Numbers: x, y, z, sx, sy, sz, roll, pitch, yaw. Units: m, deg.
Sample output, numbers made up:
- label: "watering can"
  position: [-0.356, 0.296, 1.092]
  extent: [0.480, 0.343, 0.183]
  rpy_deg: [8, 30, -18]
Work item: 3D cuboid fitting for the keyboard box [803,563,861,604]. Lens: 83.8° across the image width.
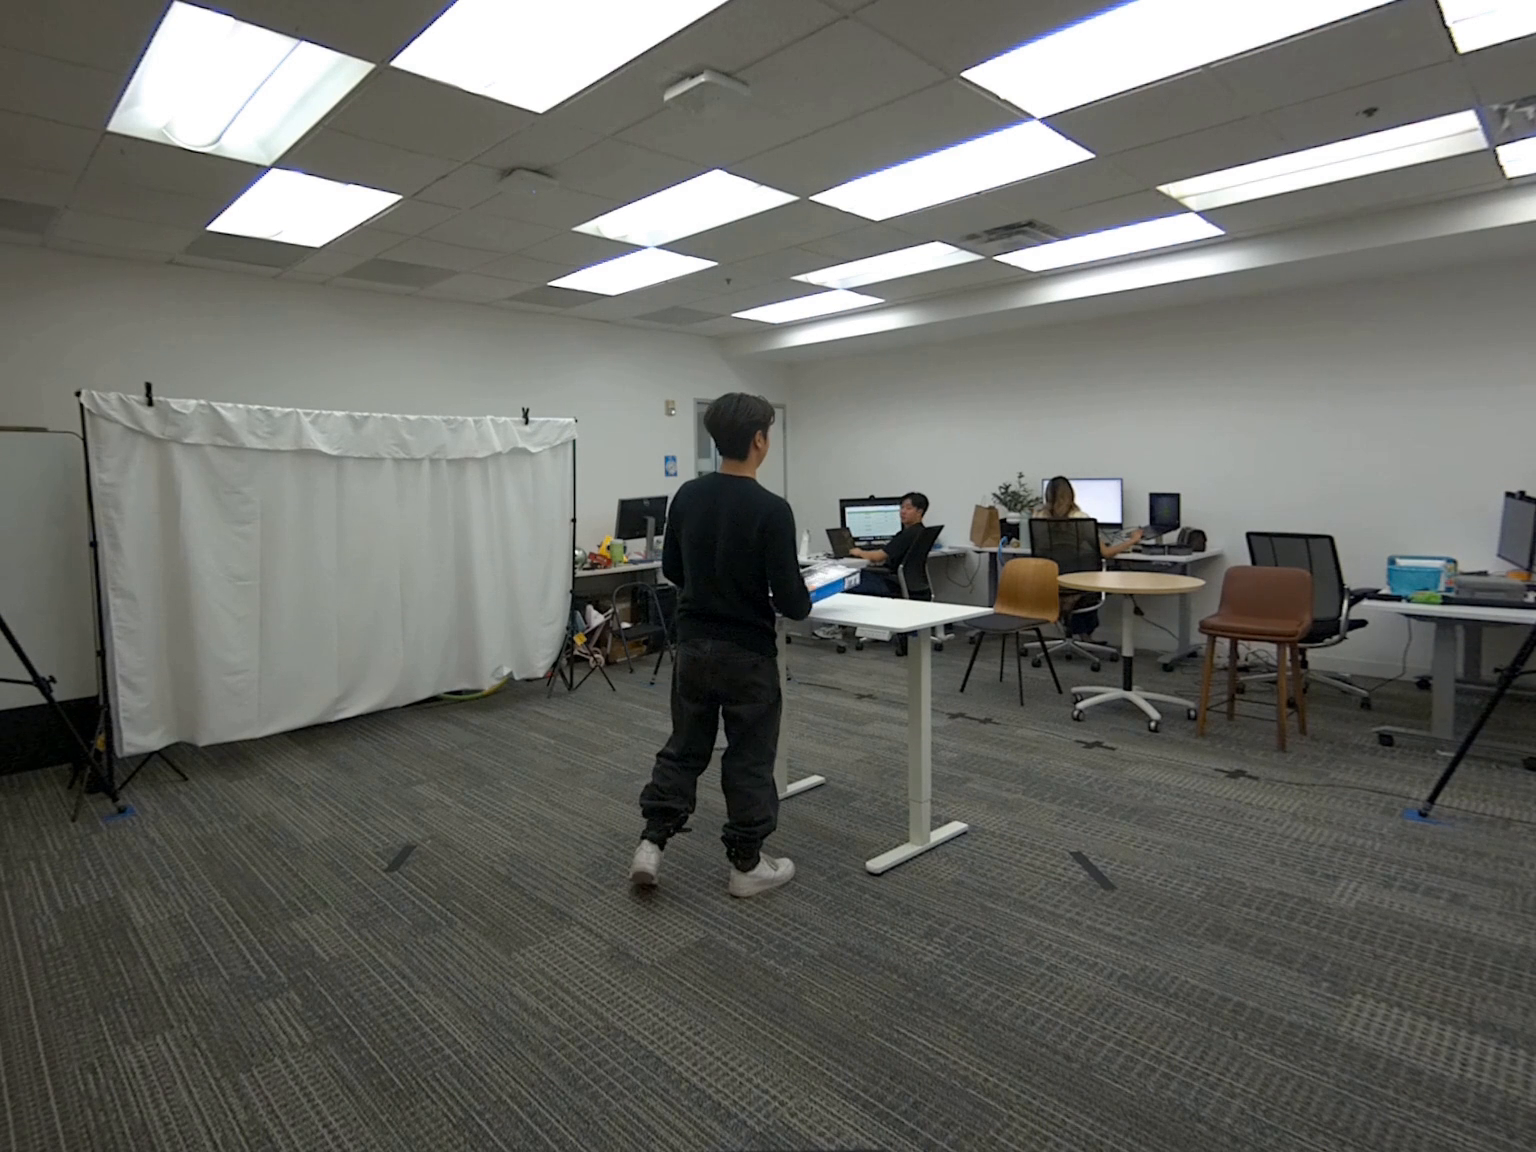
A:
- label: "keyboard box"
  position: [0.146, 0.038, 3.189]
  extent: [0.182, 0.058, 0.429]
  rpy_deg: [15, 25, 41]
